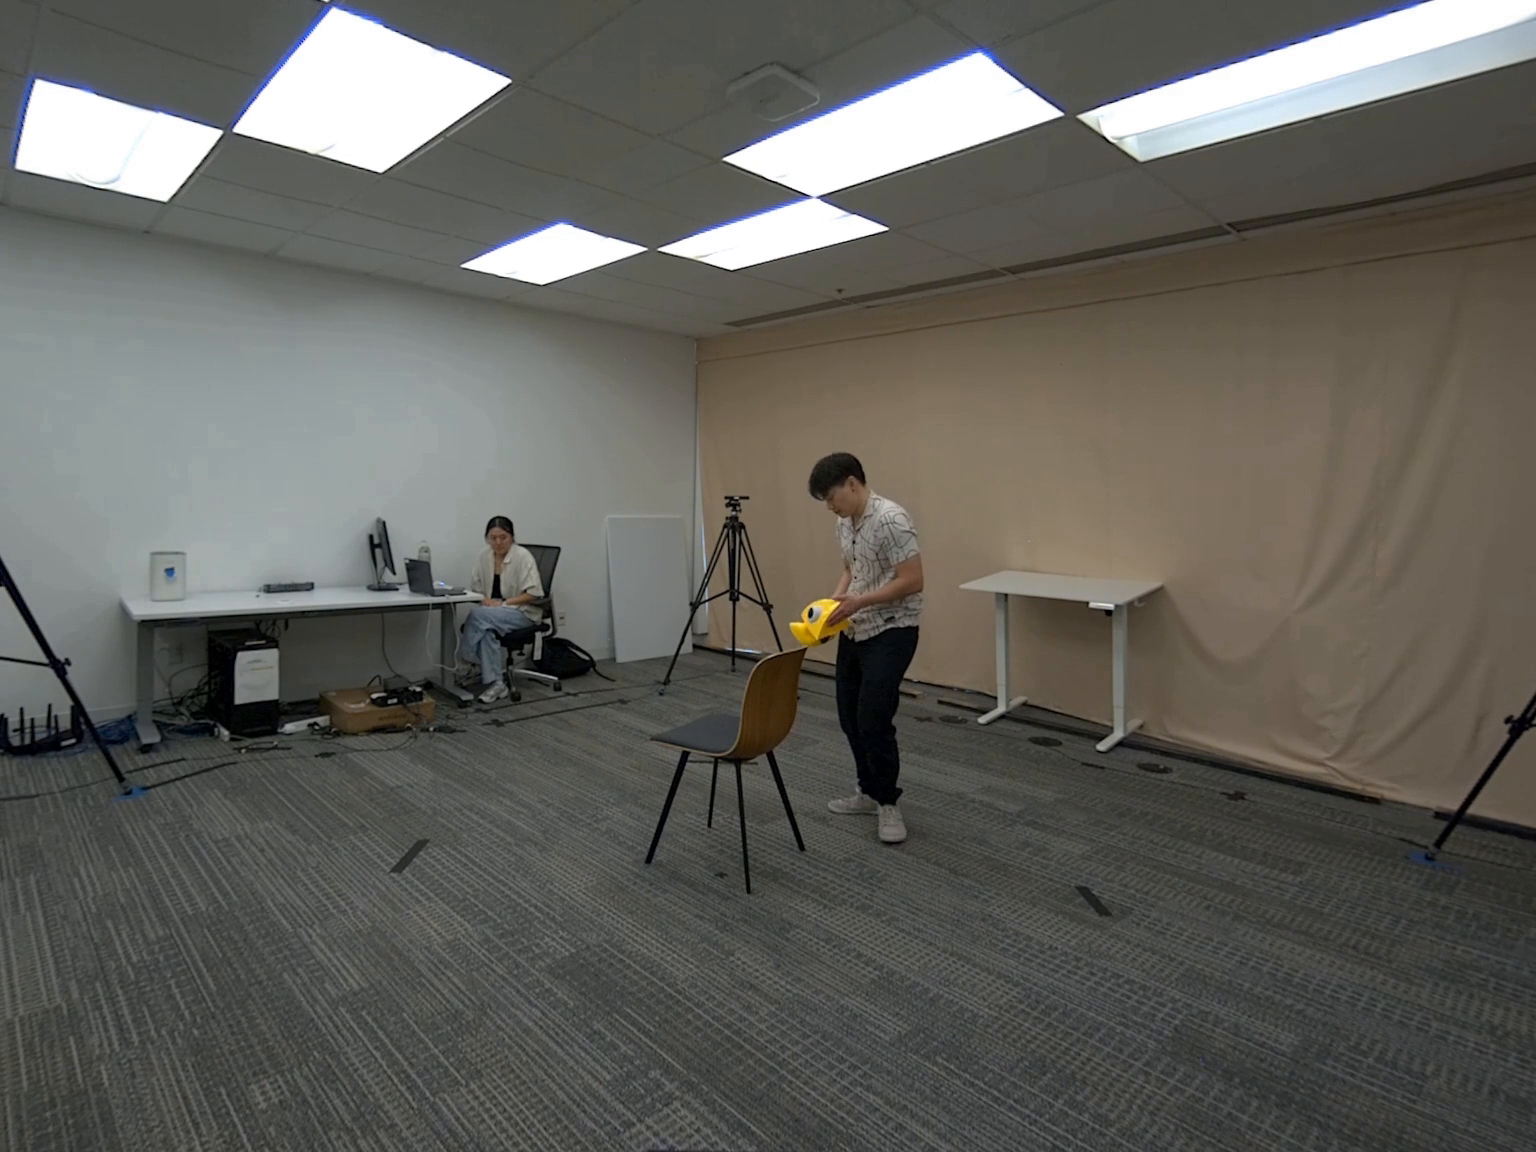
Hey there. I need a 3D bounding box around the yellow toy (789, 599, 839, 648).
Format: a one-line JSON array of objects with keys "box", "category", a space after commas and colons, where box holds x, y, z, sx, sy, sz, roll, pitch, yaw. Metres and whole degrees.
[{"box": [0.232, 0.160, 3.580, 0.201, 0.228, 0.199, -17, 49, -39], "category": "yellow toy"}]
